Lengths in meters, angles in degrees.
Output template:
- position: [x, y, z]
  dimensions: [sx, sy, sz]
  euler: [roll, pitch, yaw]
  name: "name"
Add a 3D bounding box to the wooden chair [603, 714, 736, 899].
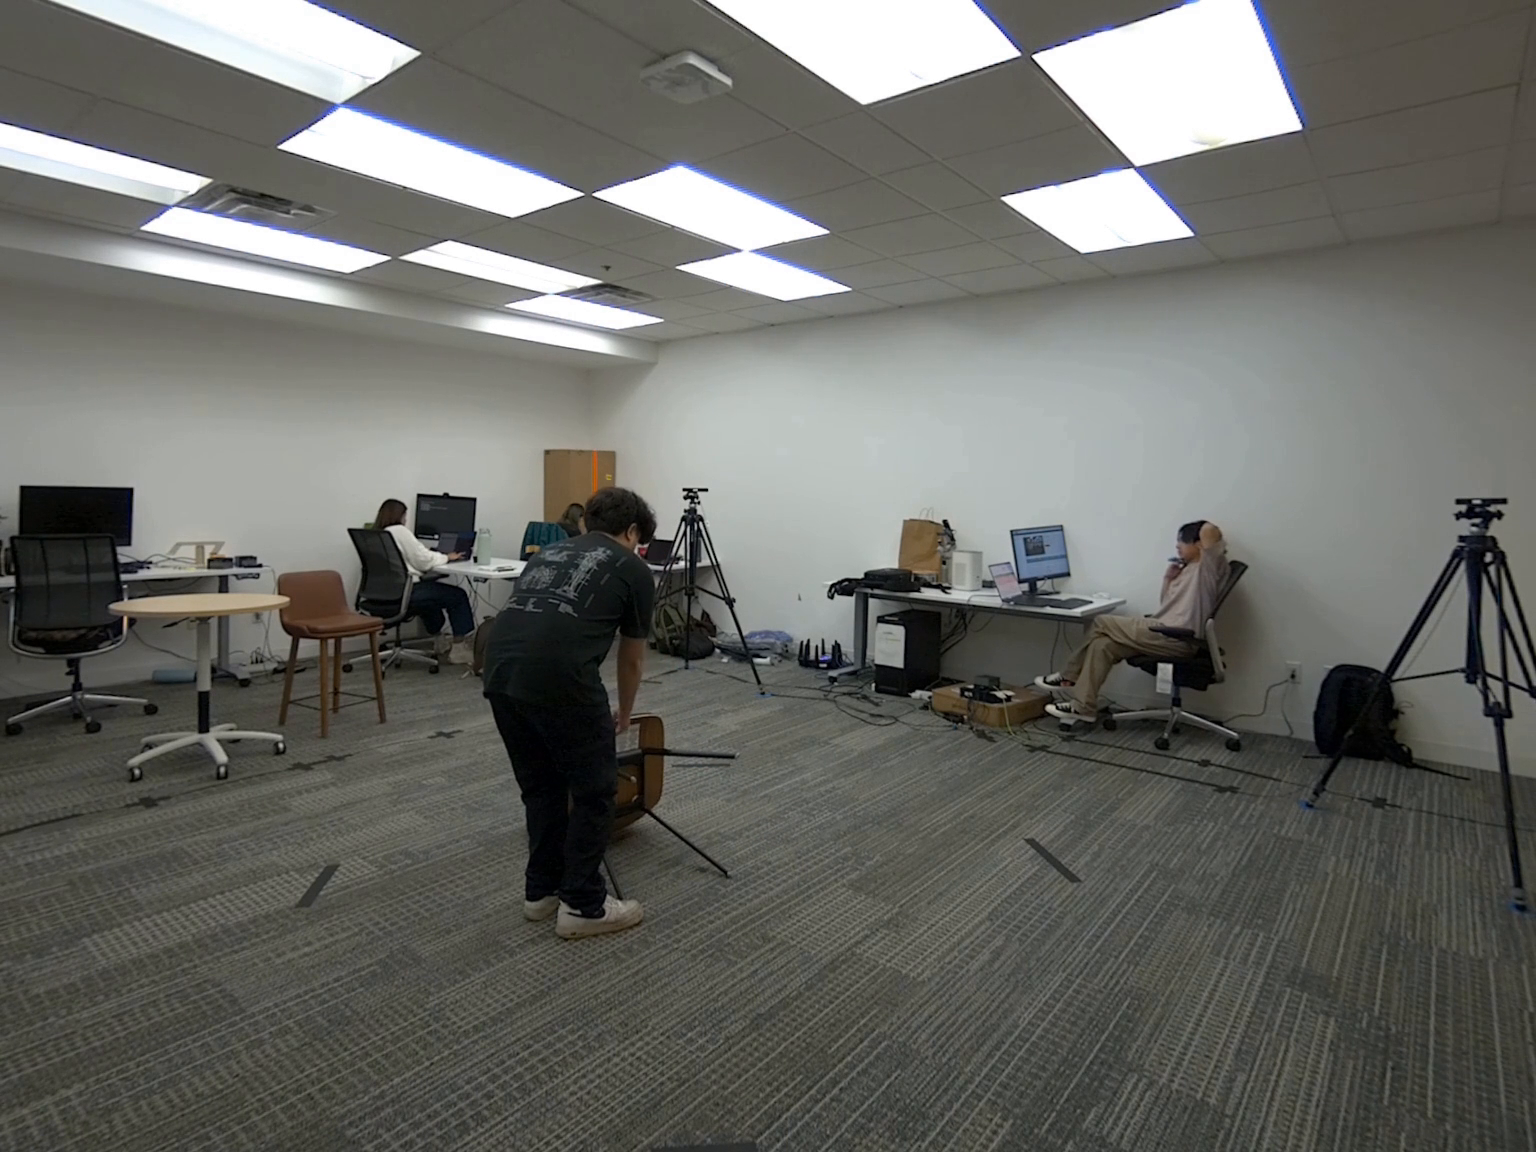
- position: [-0.575, 0.796, 3.225]
  dimensions: [0.464, 0.521, 0.907]
  euler: [-3, 5, -39]
  name: "wooden chair"
